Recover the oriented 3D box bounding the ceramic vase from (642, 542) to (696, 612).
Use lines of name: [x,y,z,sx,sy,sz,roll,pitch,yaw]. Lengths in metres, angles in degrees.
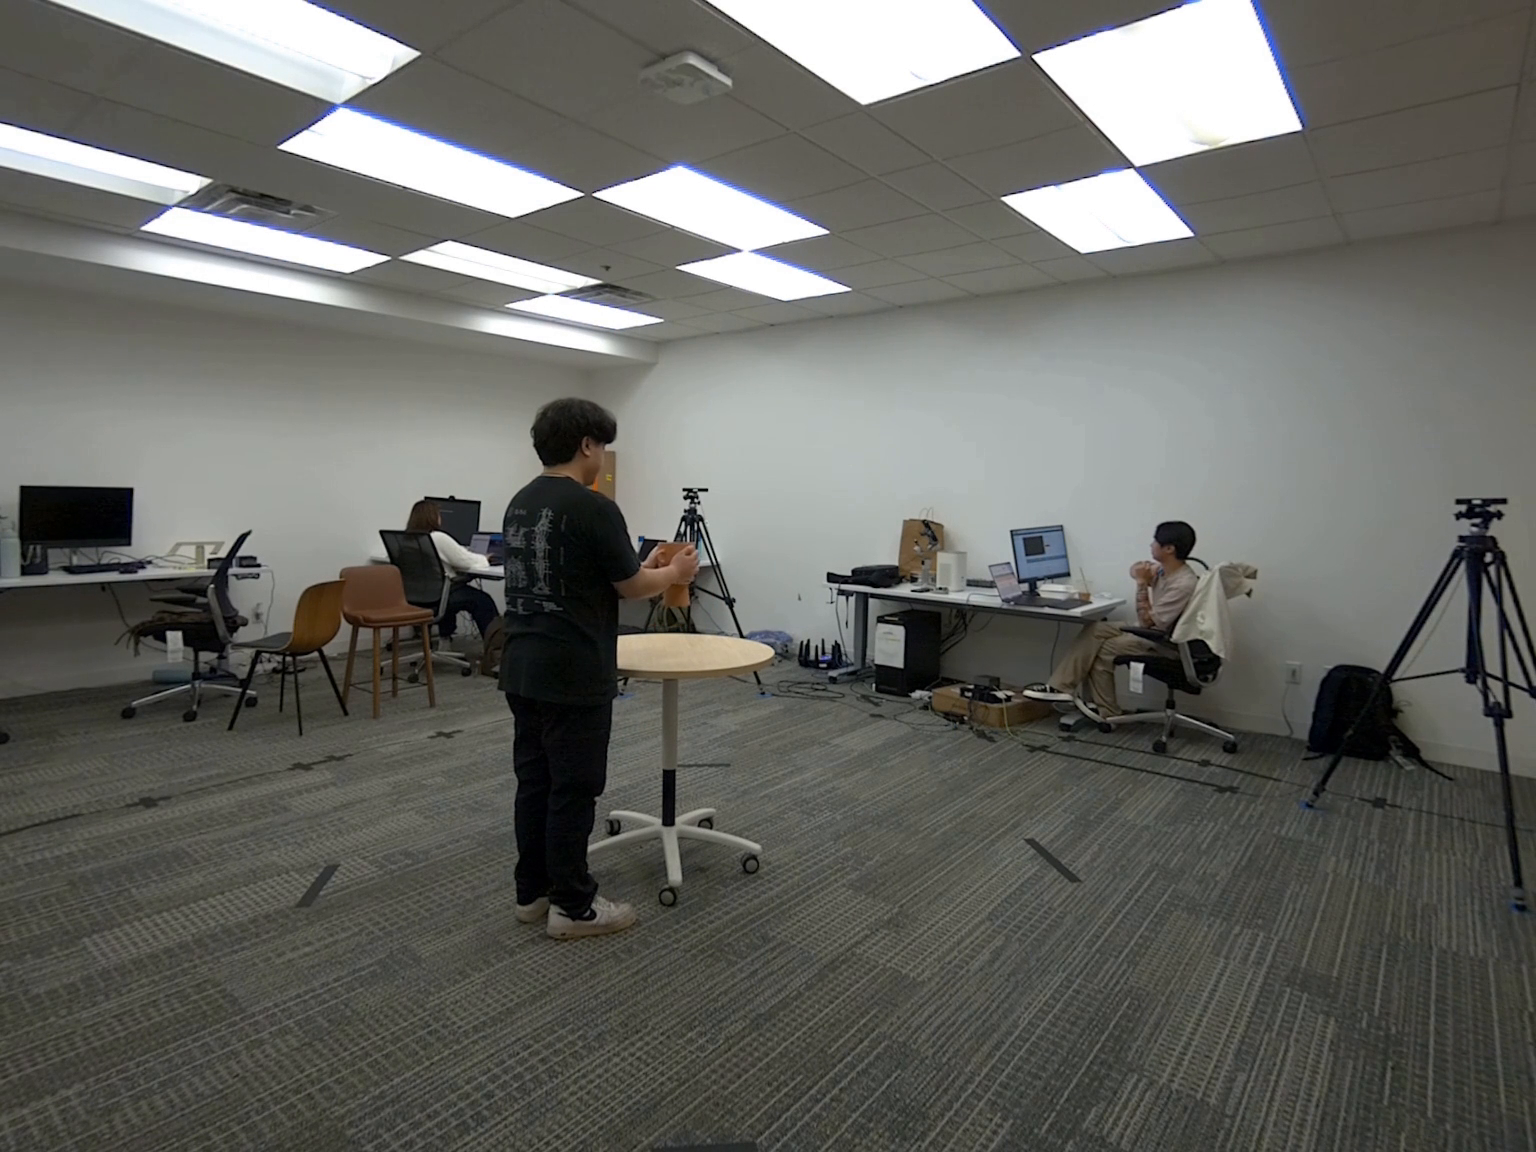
ceramic vase: [-0.336,-0.005,2.983,0.157,0.219,0.136,0,2,-11]
